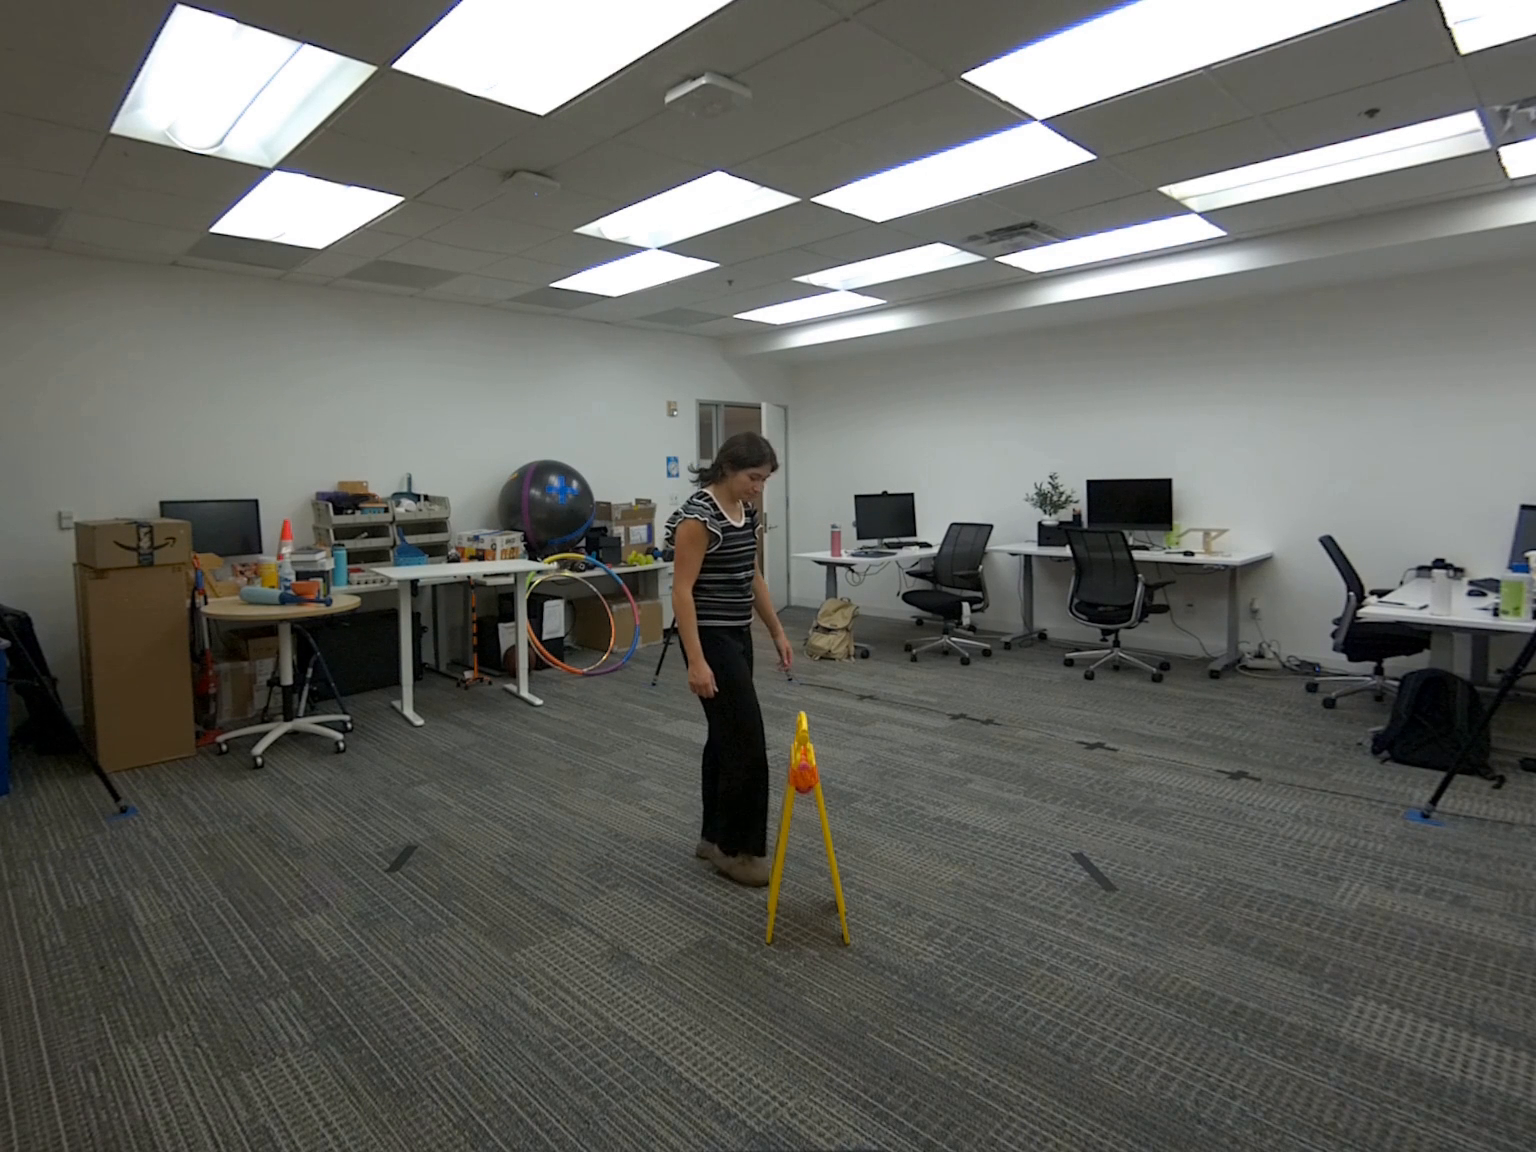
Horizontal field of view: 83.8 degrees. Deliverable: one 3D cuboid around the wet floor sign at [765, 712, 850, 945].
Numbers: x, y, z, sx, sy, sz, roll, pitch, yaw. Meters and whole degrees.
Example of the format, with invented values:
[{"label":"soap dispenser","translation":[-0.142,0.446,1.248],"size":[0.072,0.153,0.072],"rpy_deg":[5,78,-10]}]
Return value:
[{"label":"wet floor sign","translation":[0.110,0.768,2.670],"size":[0.291,0.643,0.282],"rpy_deg":[-2,4,2]}]
